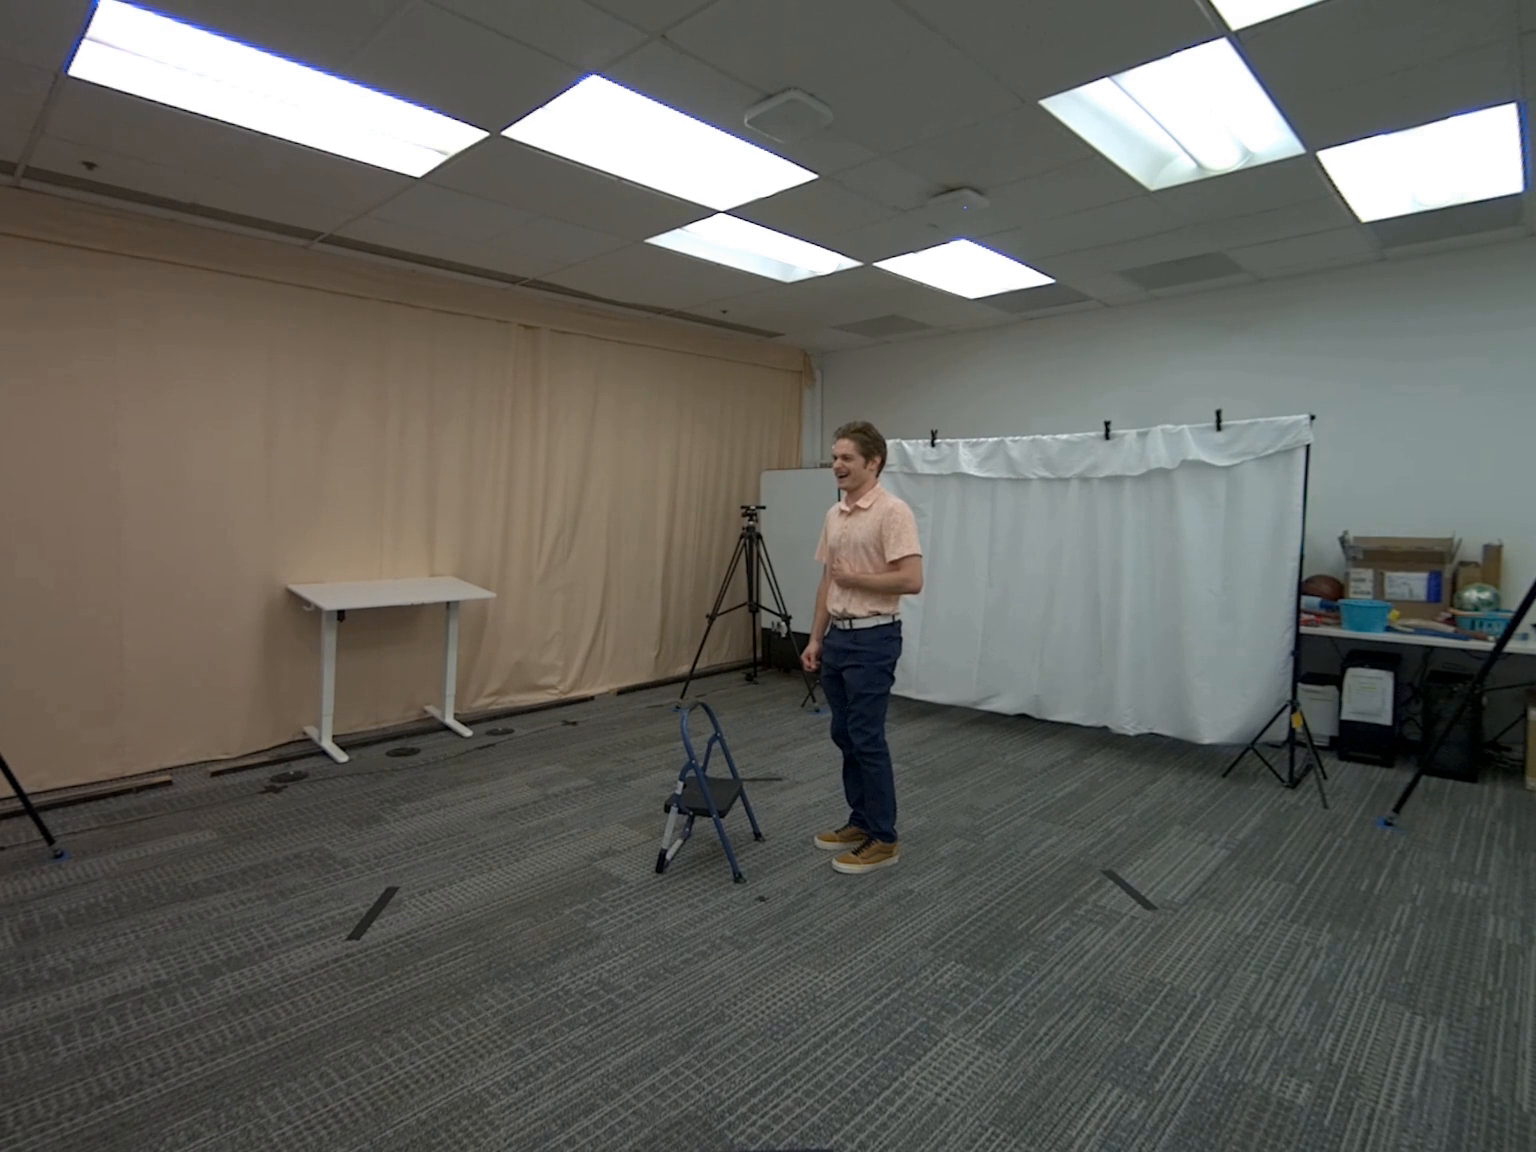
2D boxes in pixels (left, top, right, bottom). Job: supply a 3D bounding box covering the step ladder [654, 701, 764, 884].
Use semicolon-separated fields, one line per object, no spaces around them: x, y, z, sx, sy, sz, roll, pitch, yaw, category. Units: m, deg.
-0.224;0.816;3.338;0.354;0.605;0.425;0;3;12;step ladder
